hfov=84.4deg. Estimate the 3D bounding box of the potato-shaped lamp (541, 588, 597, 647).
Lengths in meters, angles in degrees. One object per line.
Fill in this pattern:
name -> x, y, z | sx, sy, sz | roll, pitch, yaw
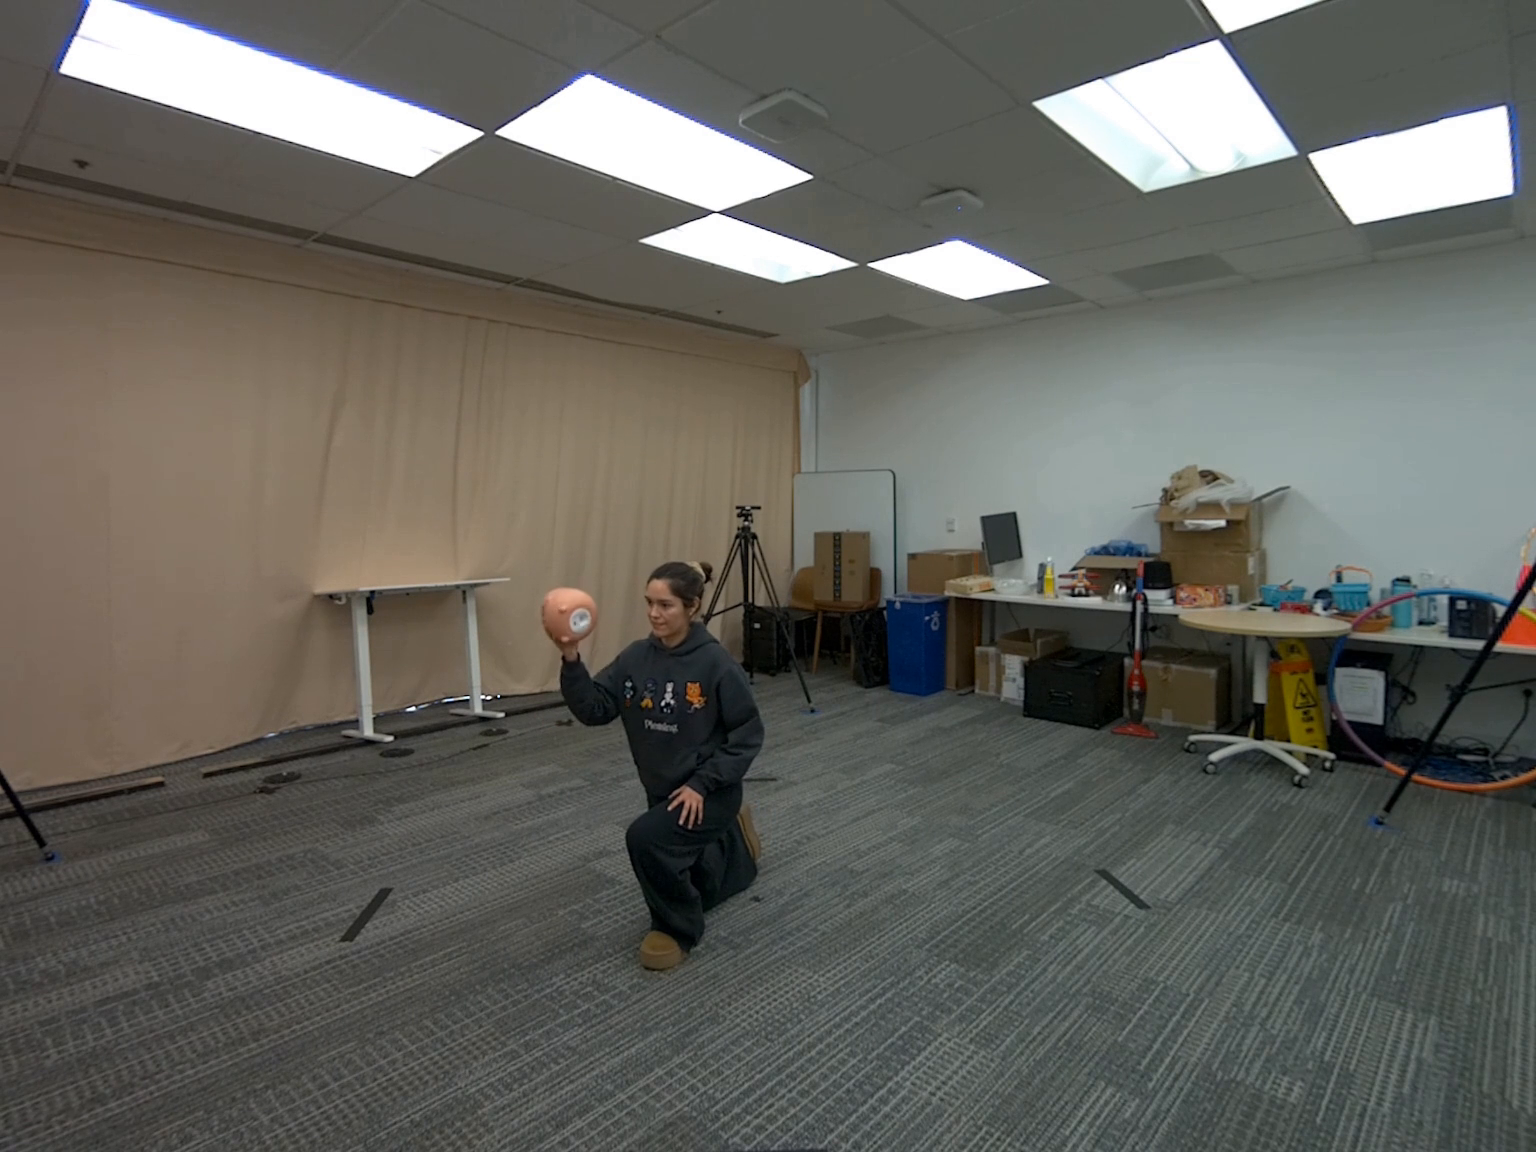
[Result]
potato-shaped lamp -> -0.631, 0.125, 2.696 | 0.168, 0.162, 0.205 | -27, 30, -37
